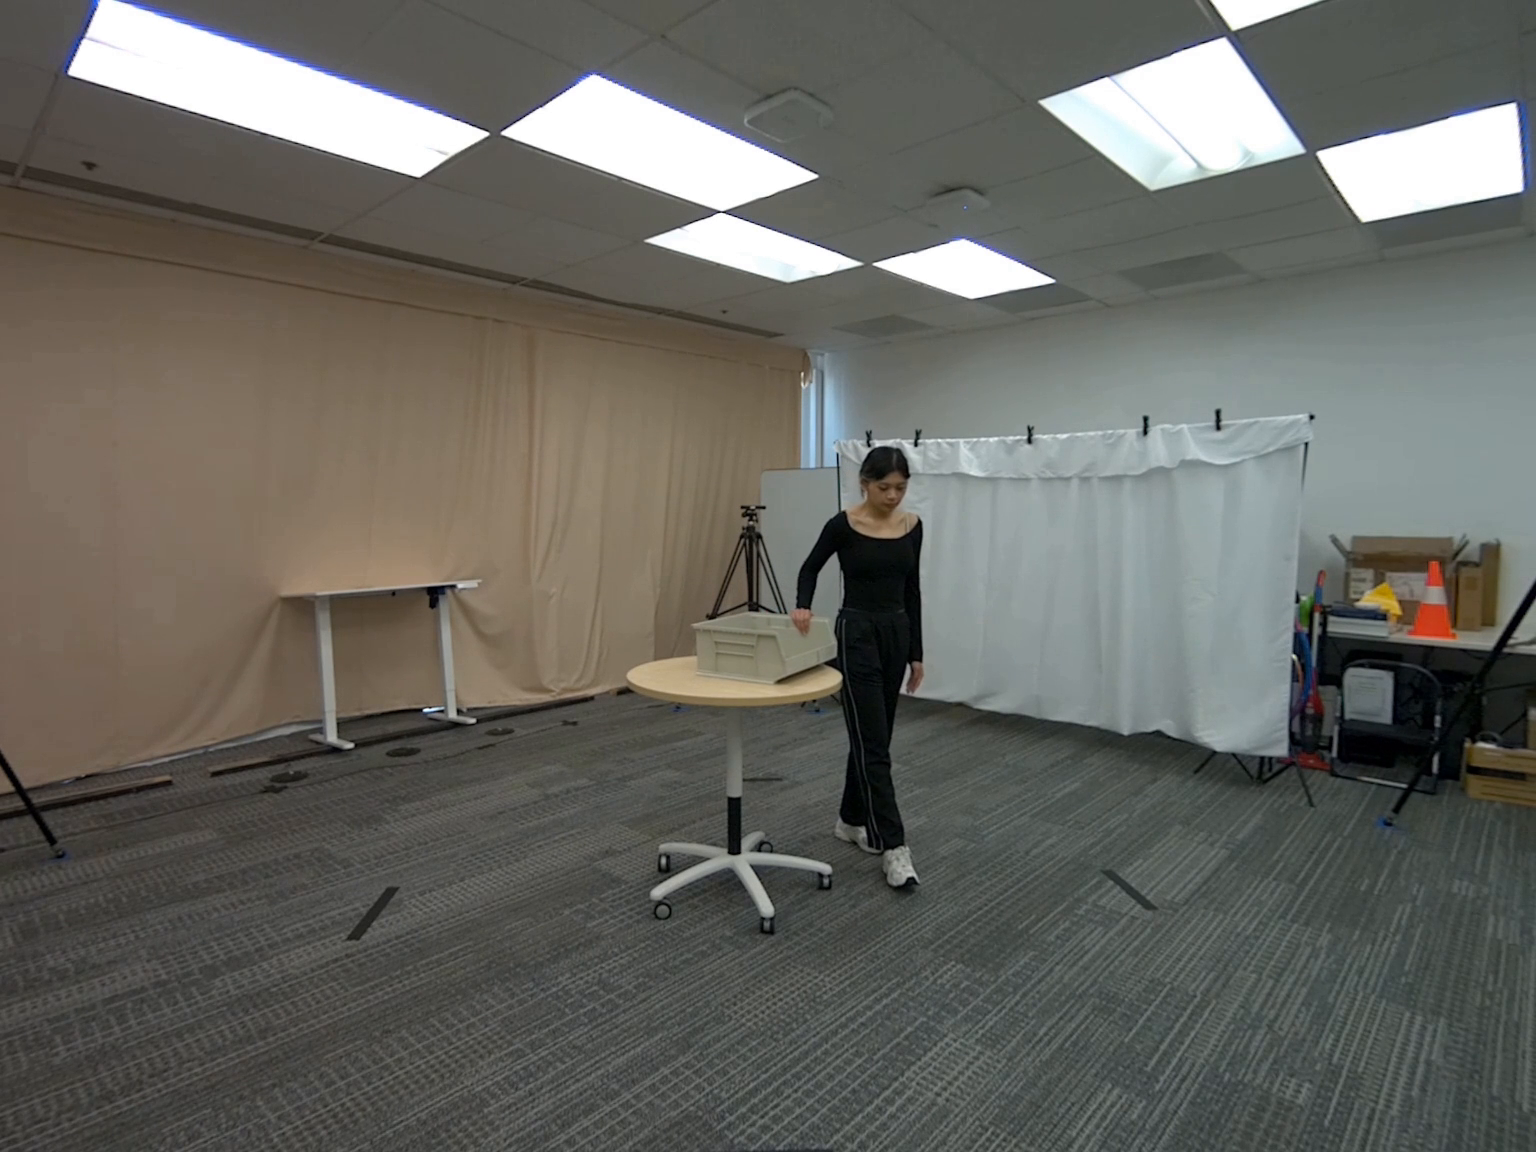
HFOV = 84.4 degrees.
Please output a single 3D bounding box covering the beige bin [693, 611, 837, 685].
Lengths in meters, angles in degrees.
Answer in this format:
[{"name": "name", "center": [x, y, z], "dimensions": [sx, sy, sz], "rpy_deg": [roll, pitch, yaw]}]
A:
[{"name": "beige bin", "center": [-0.007, 0.254, 3.060], "dimensions": [0.388, 0.188, 0.412], "rpy_deg": [1, 5, 29]}]
